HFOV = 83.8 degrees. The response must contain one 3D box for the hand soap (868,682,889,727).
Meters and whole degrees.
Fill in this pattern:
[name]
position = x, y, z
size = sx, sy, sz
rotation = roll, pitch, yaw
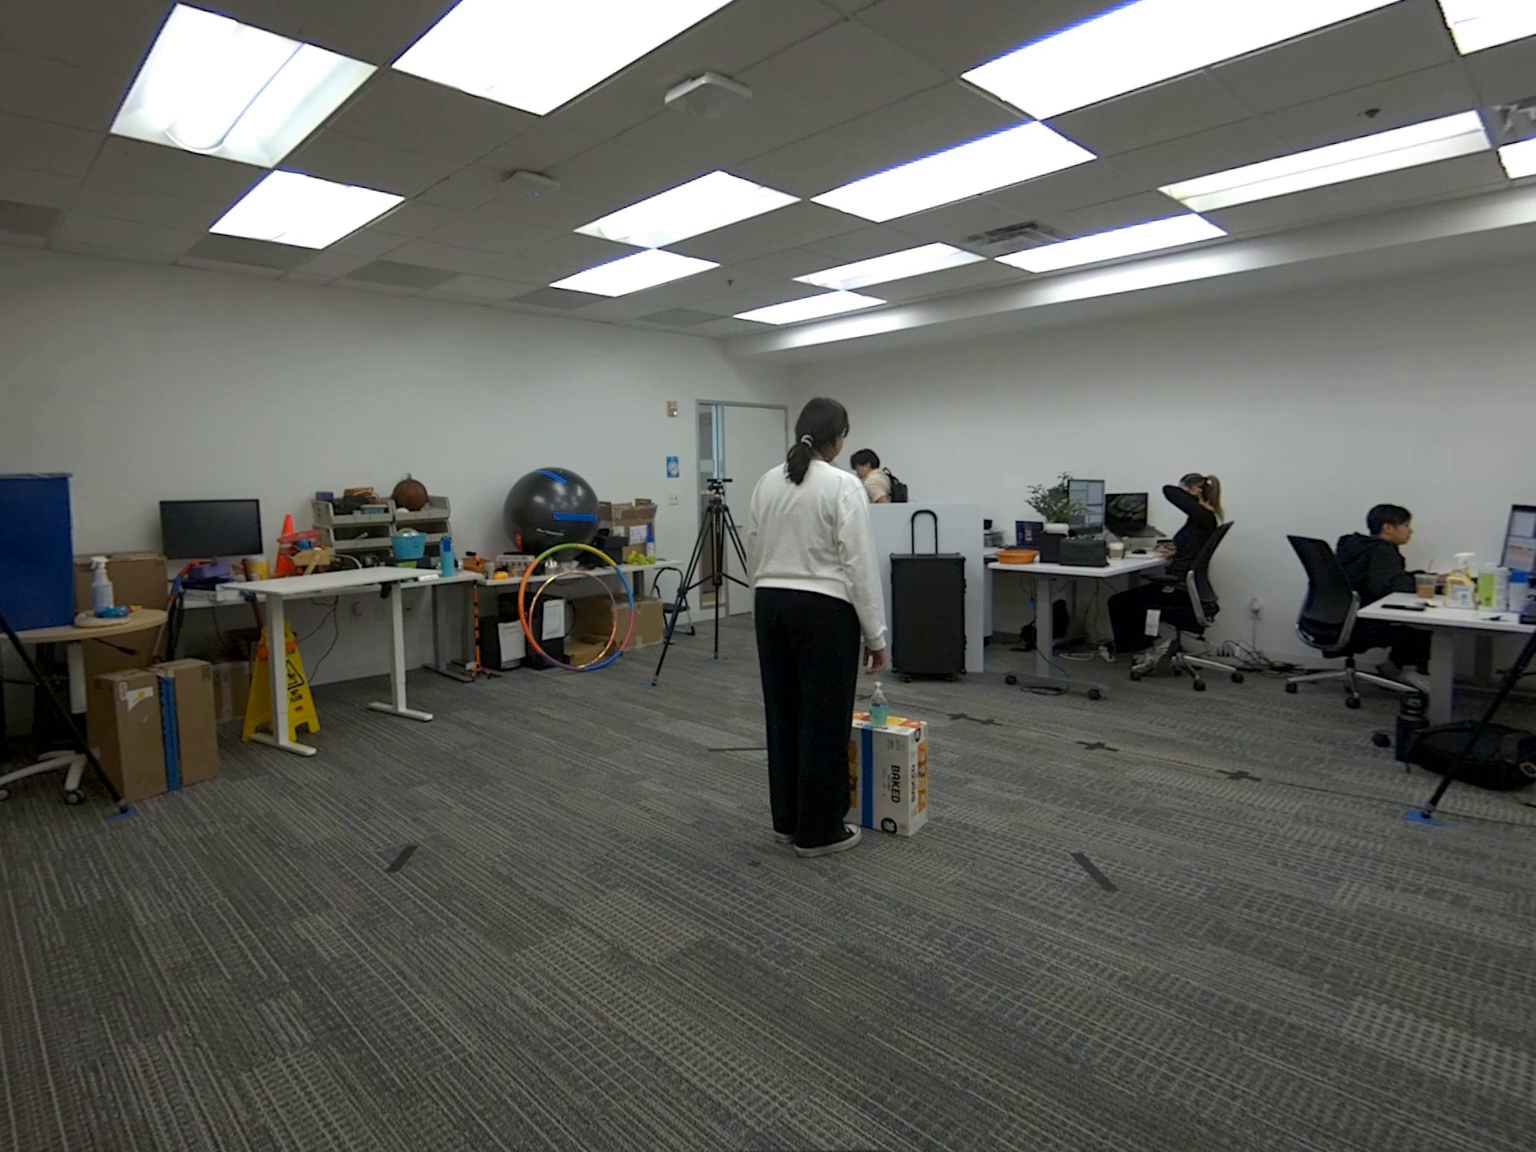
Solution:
[hand soap]
position = 0.441, 0.511, 3.441
size = 0.087, 0.168, 0.042
rotation = -2, 3, 36
